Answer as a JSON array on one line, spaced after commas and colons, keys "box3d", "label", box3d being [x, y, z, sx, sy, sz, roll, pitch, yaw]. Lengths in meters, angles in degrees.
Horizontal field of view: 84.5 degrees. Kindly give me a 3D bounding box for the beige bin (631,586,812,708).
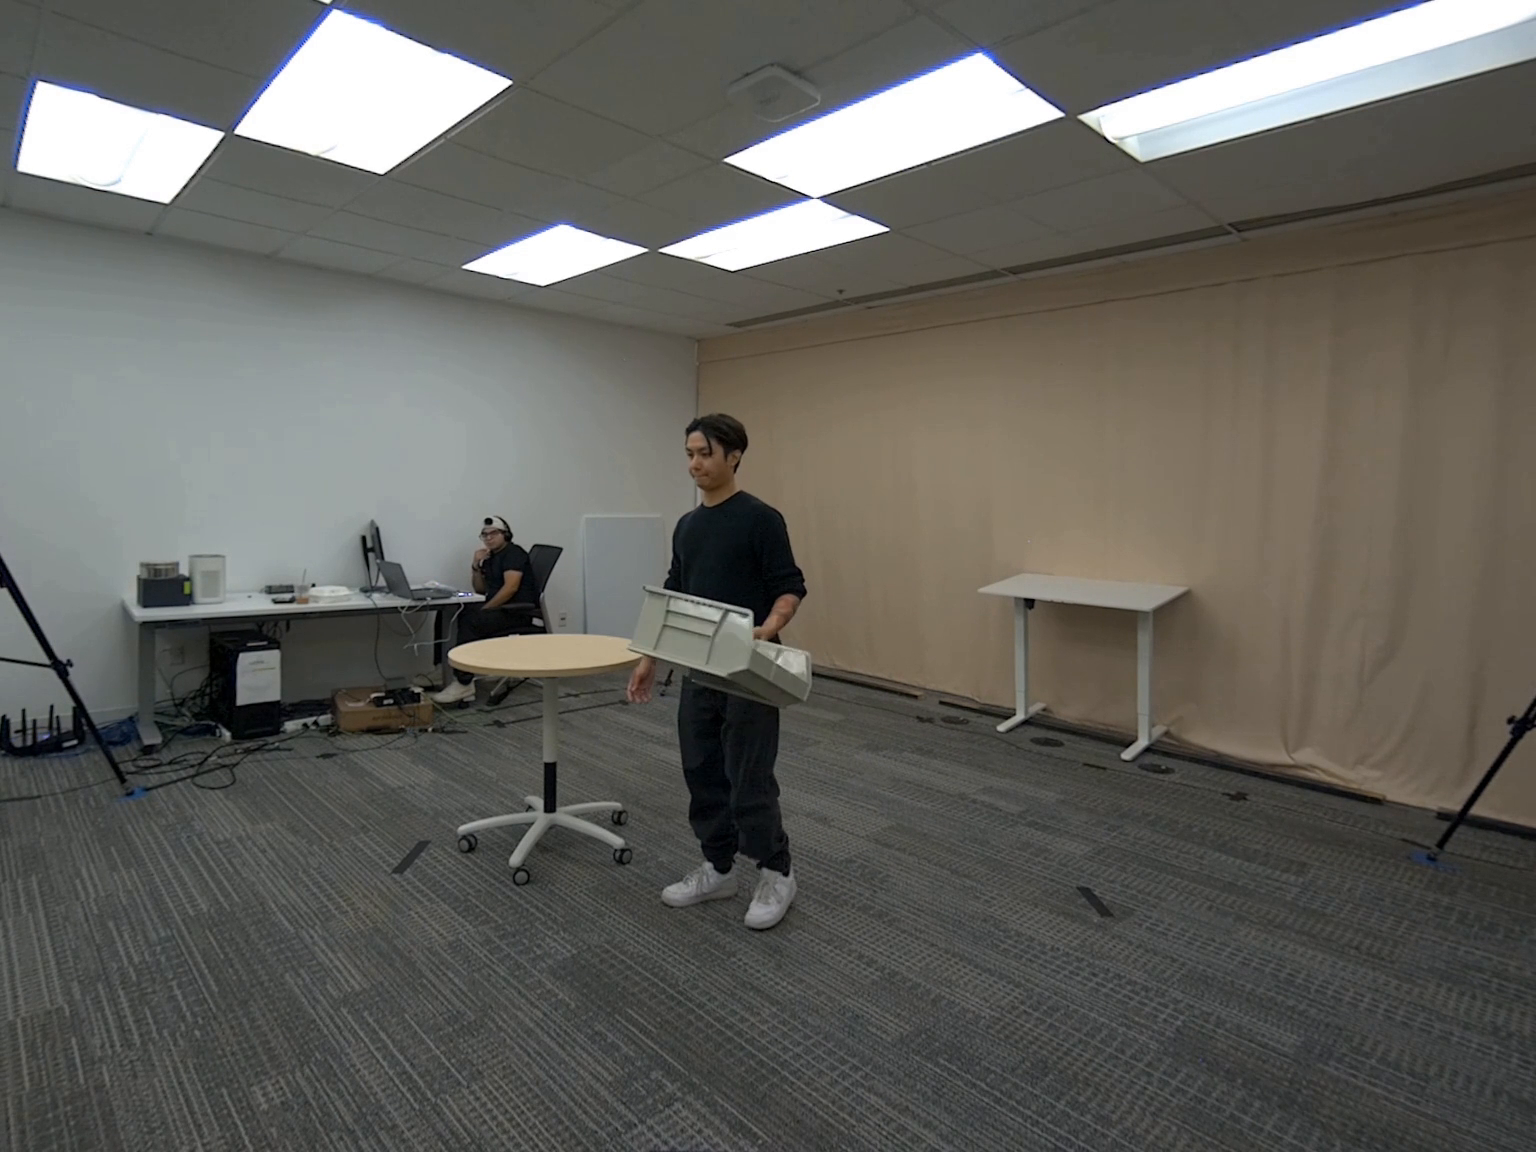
[{"box3d": [-0.129, 0.213, 2.330, 0.386, 0.190, 0.410, 12, -14, 29], "label": "beige bin"}]
